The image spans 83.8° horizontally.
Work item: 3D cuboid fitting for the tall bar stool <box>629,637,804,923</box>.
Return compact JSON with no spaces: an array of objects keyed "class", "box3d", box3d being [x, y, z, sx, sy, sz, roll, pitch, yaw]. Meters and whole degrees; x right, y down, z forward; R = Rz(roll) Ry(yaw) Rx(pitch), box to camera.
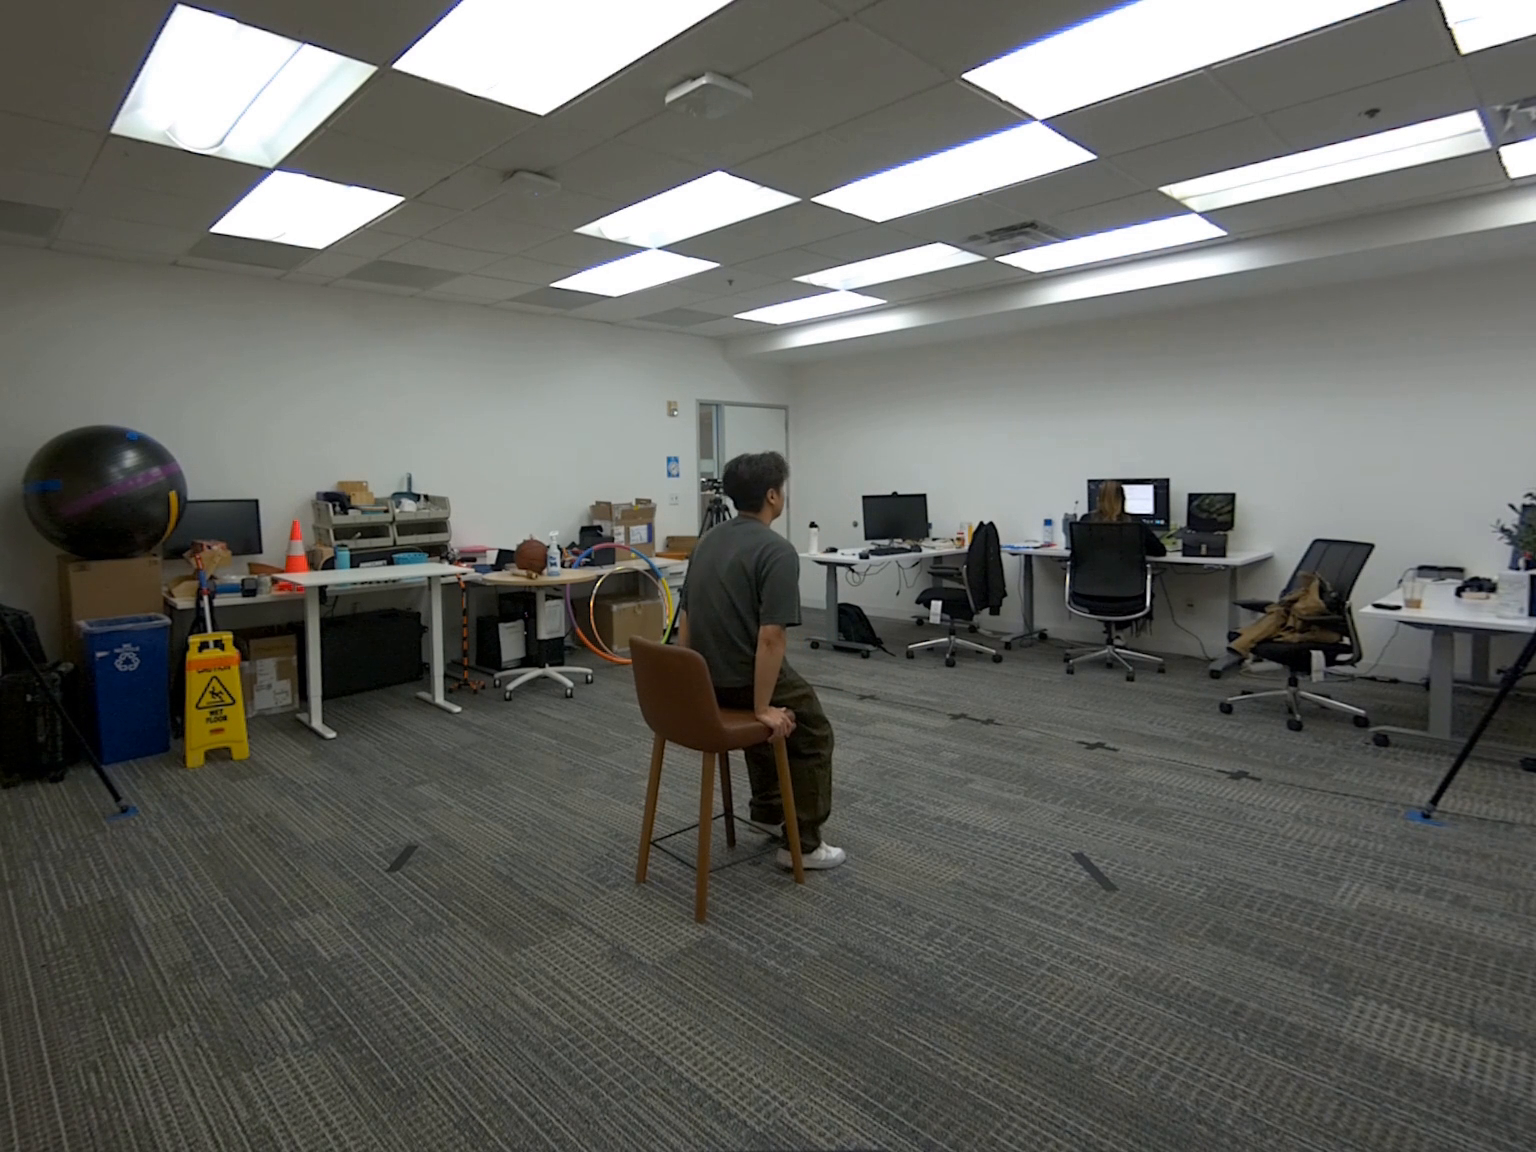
[{"class":"tall bar stool","box3d":[-0.187,0.630,2.938,0.456,0.886,0.470,-6,6,-40]}]
